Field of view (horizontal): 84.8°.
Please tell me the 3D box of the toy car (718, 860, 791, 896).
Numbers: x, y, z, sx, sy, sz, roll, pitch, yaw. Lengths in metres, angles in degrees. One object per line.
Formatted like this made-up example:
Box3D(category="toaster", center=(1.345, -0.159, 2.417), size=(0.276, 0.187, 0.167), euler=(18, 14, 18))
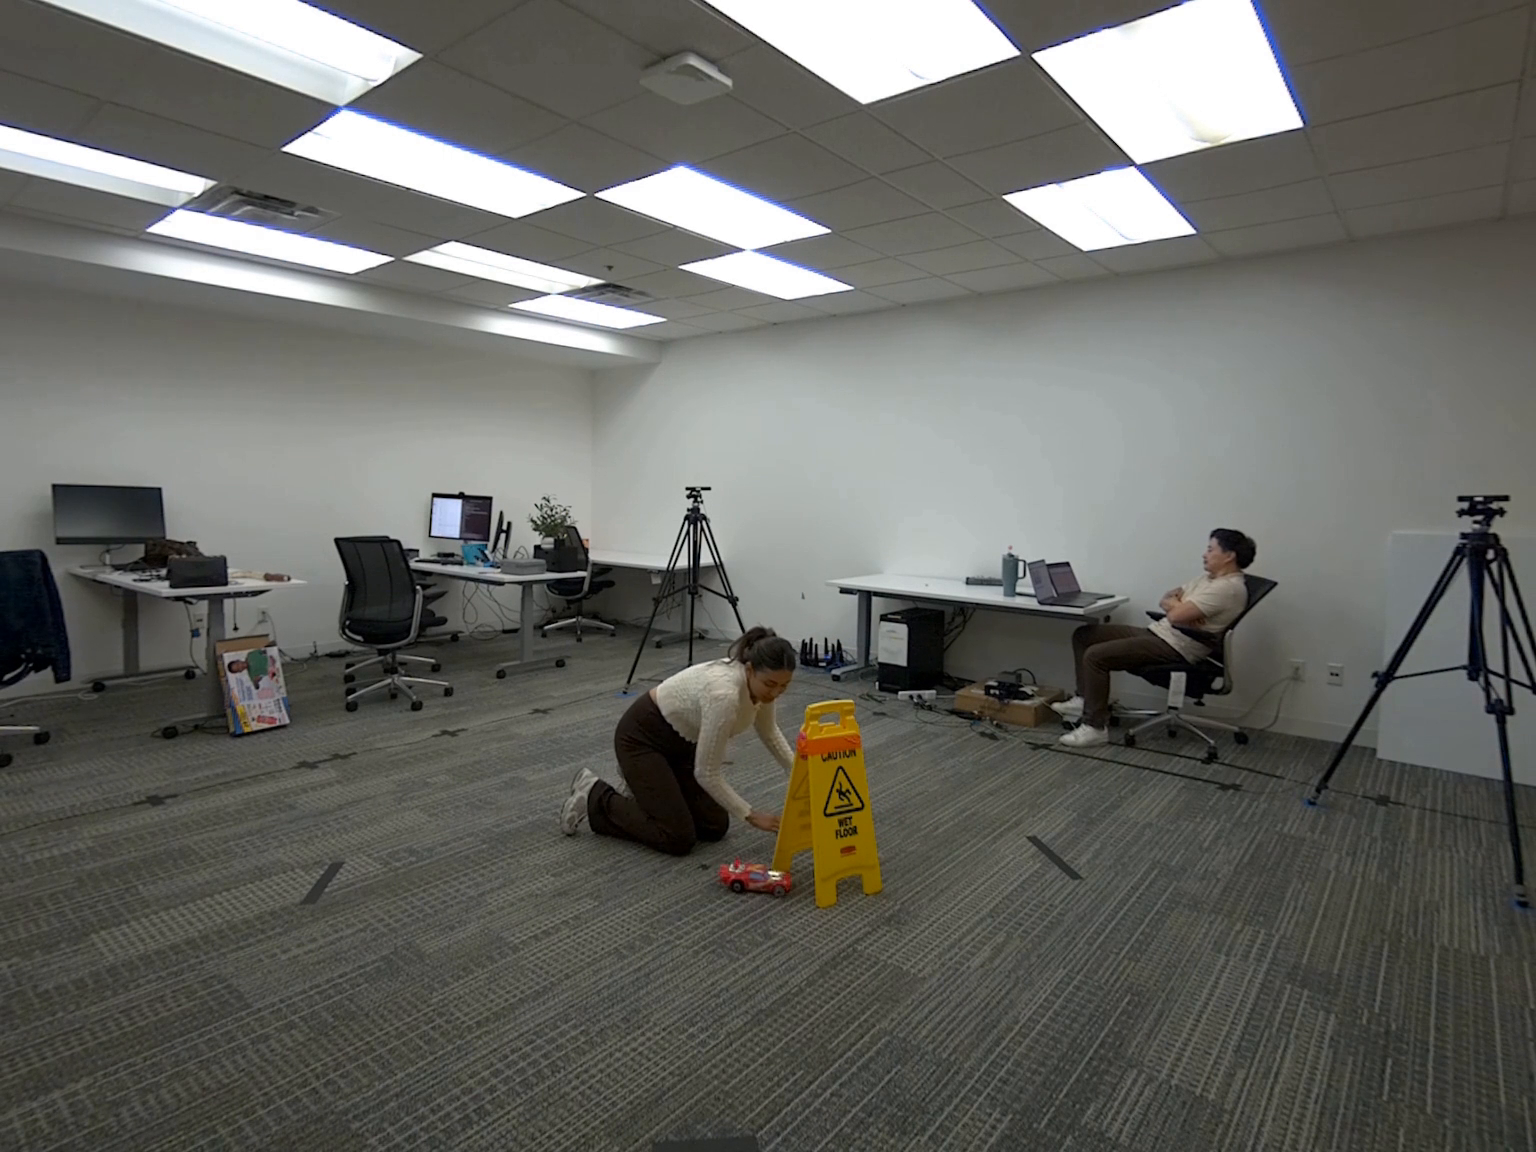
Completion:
Box3D(category="toy car", center=(-0.052, 1.052, 2.969), size=(0.256, 0.083, 0.130), euler=(15, 5, 5))
